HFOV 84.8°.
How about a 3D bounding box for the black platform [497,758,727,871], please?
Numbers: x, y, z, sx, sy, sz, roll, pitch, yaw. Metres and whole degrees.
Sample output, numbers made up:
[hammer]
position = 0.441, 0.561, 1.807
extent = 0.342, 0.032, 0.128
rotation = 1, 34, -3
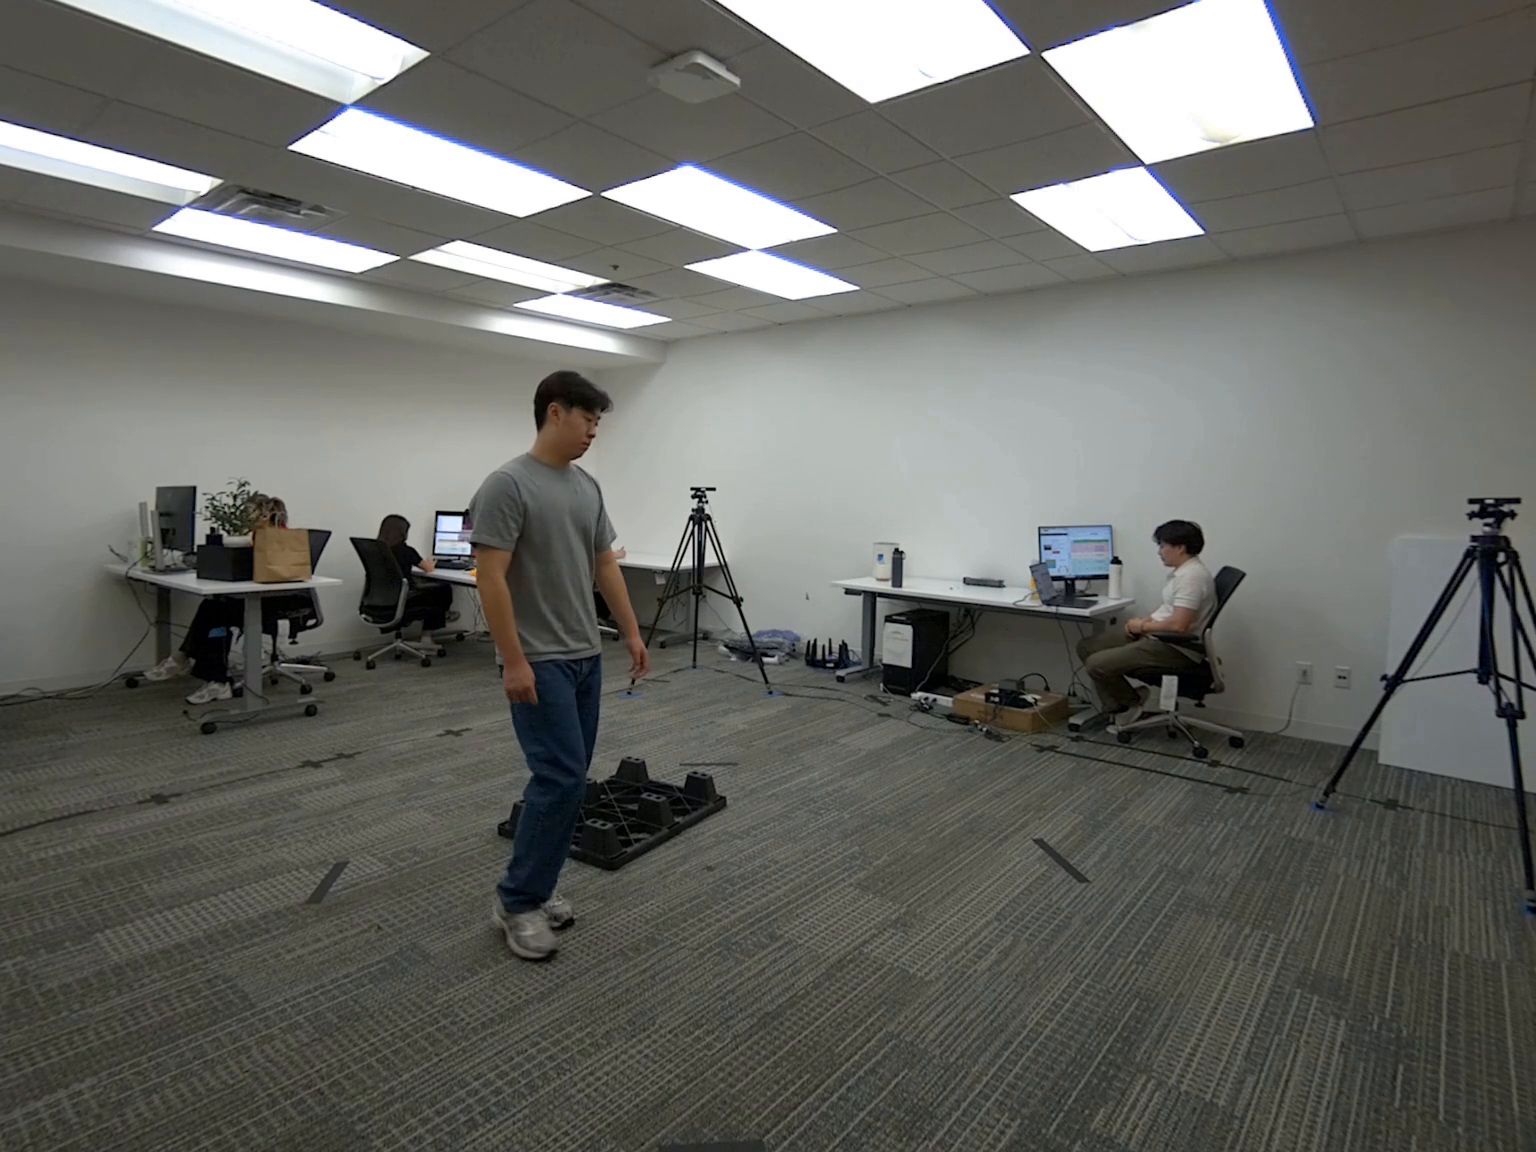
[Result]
[black platform]
position = -0.638, 0.948, 3.556
extent = 0.623, 0.143, 0.785
rotation = 4, 6, 30
